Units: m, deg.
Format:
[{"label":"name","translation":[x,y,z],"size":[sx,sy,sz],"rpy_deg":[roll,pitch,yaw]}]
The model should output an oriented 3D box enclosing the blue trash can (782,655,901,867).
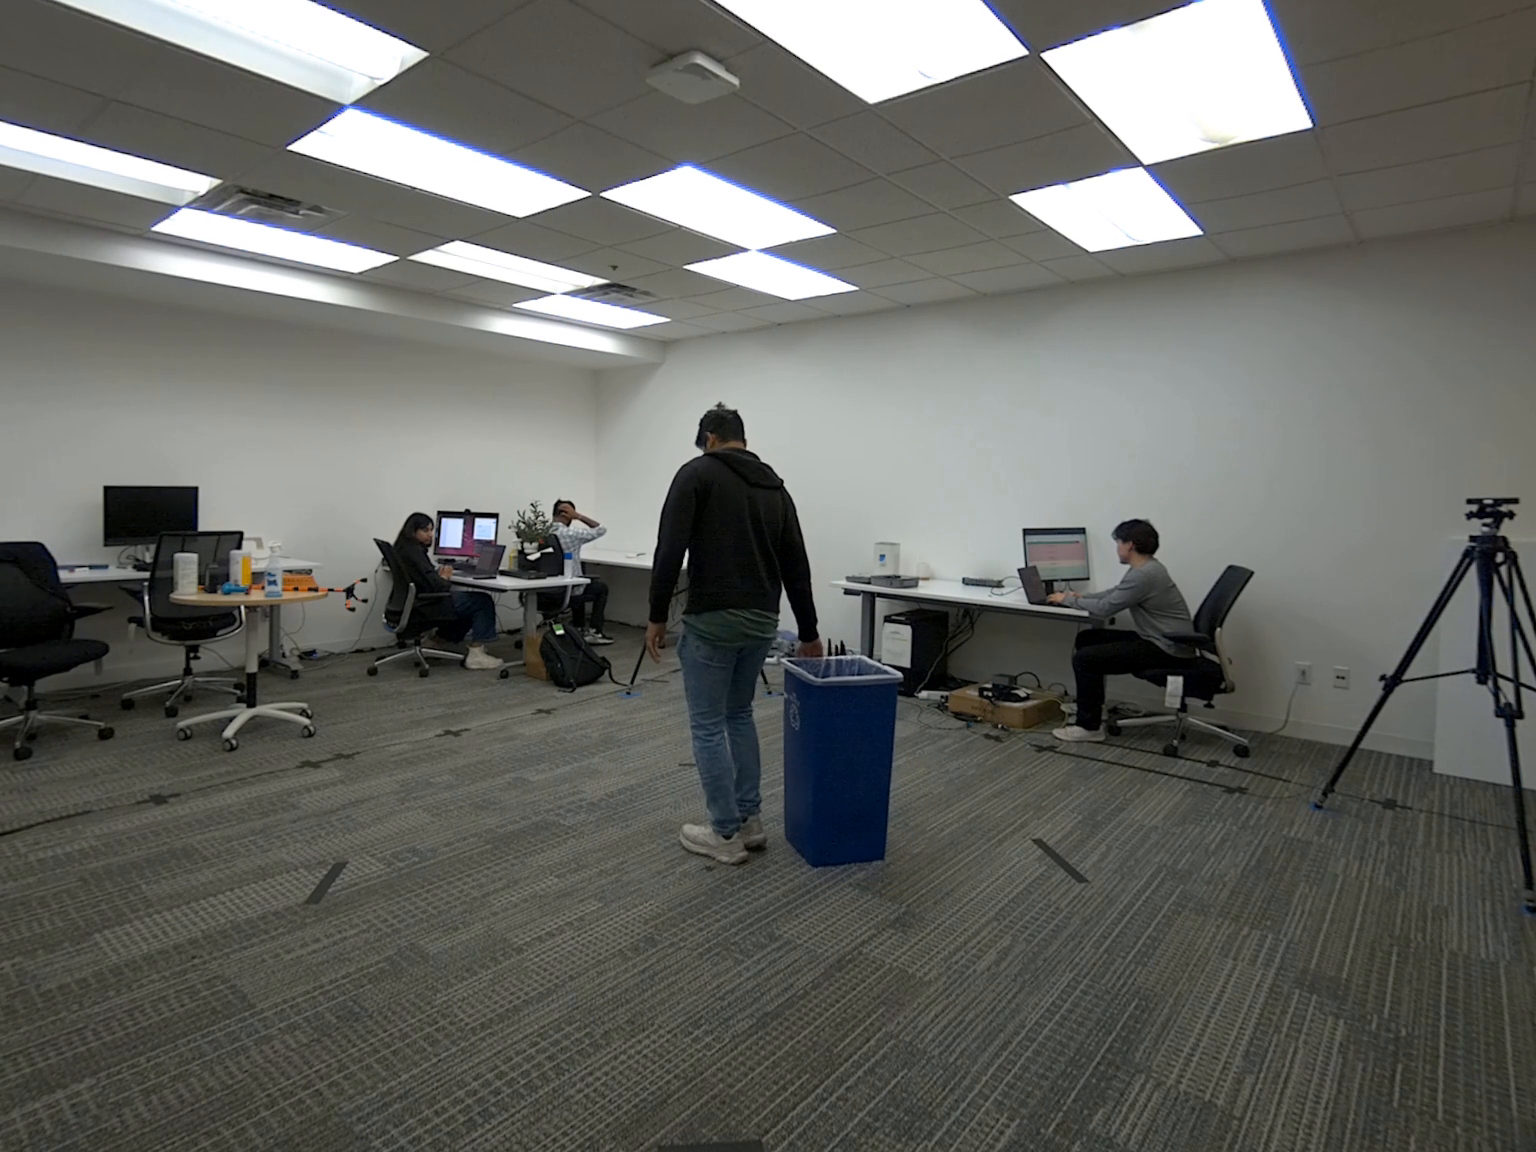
[{"label":"blue trash can","translation":[0.250,0.700,3.286],"size":[0.367,0.711,0.387],"rpy_deg":[1,4,-20]}]
